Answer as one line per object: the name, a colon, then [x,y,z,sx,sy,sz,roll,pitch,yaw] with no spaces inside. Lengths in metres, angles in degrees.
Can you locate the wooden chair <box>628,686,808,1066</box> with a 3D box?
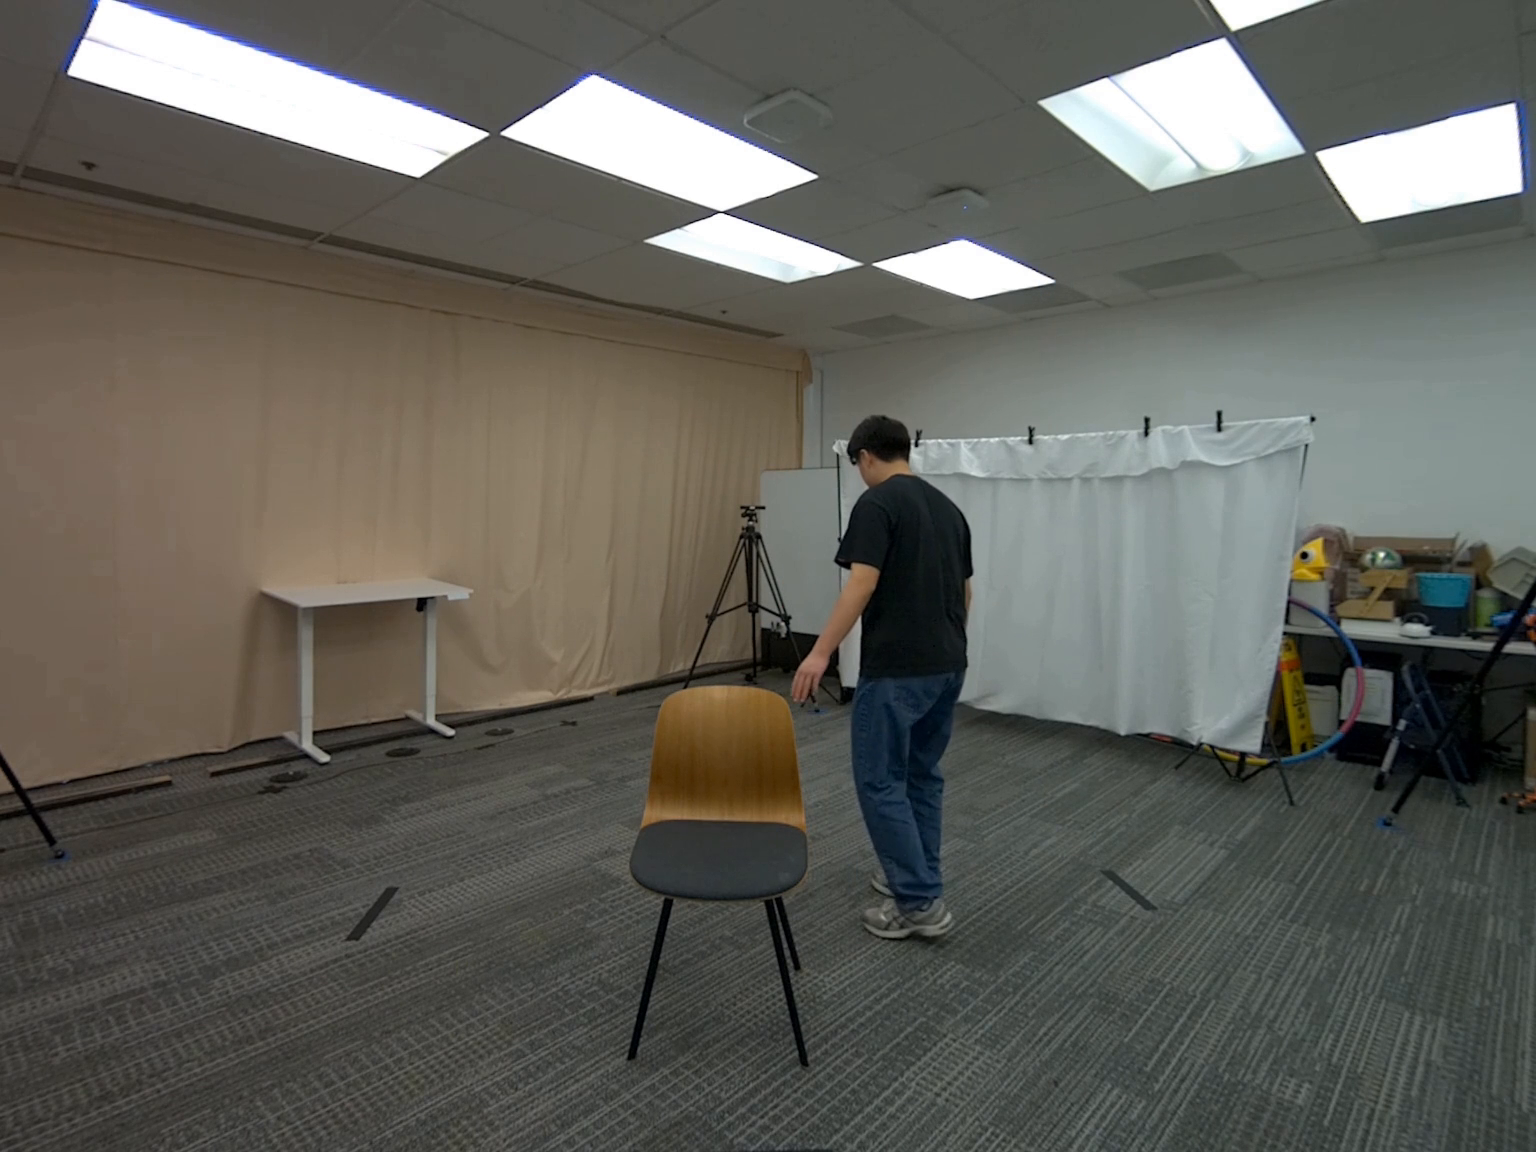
wooden chair: [-0.114,0.774,2.286,0.479,0.878,0.522,1,-1,1]
